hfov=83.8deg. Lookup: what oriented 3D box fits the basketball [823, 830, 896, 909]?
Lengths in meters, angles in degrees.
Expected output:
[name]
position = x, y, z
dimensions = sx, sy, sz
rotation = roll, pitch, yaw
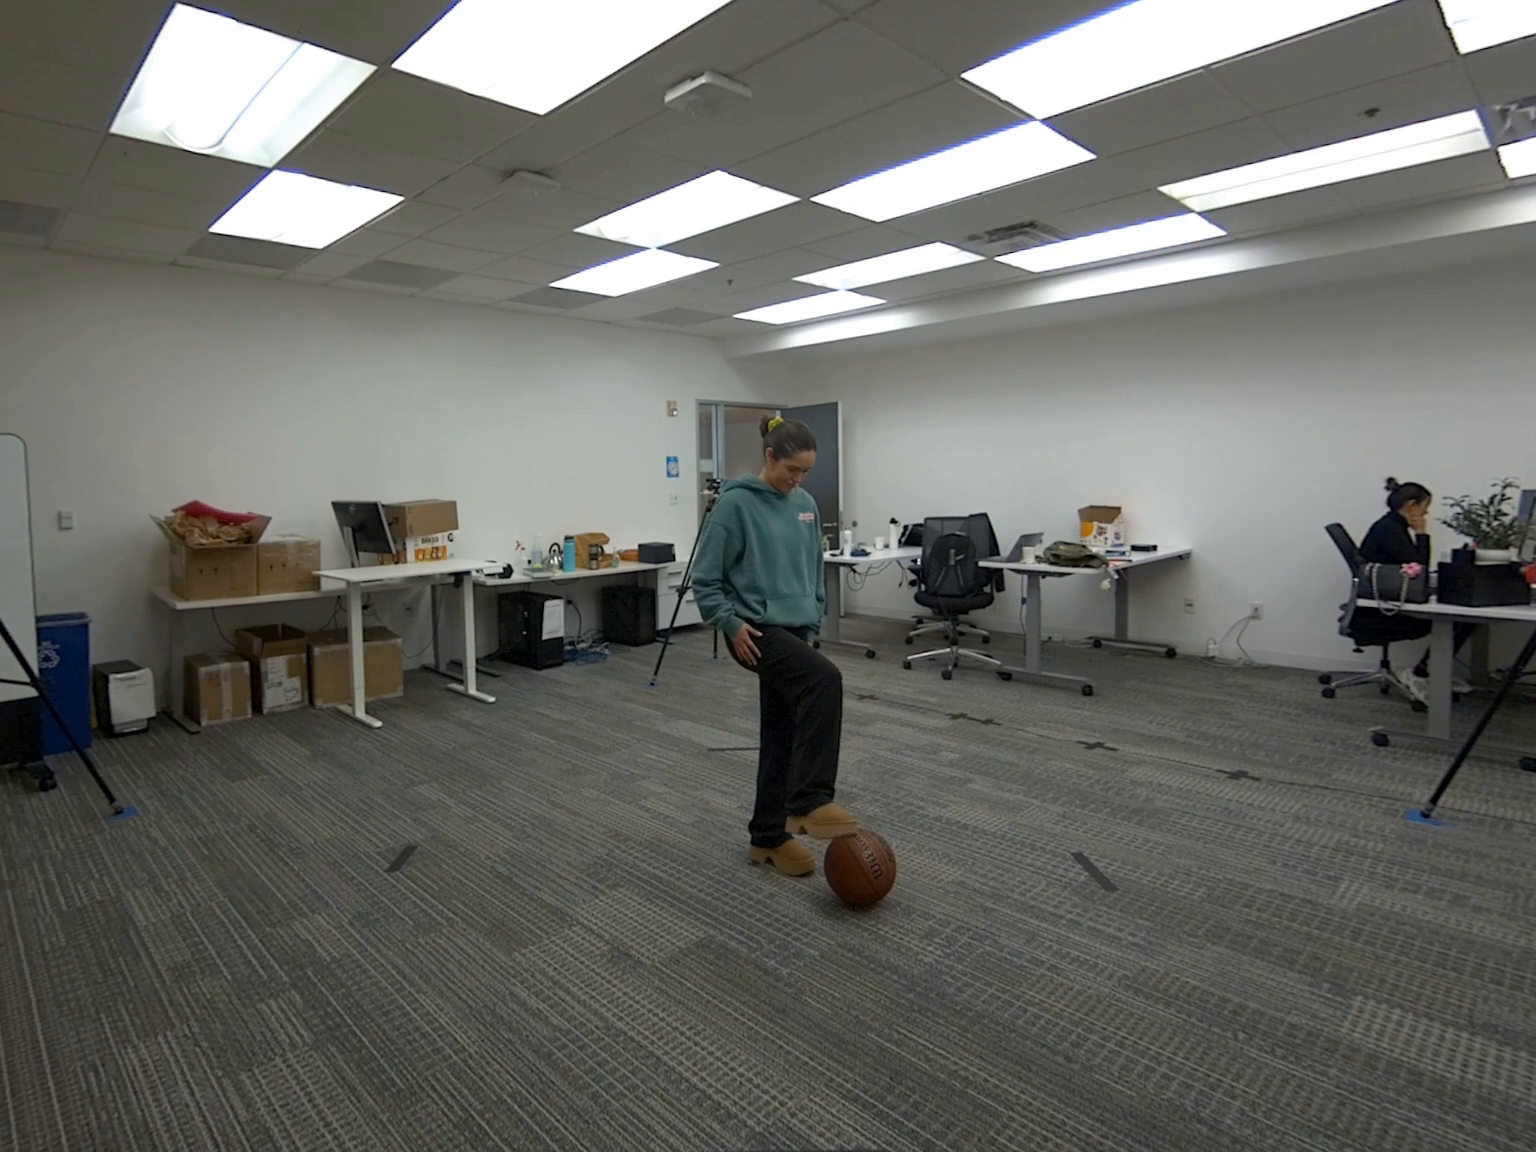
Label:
[basketball]
position = 0.302, 0.948, 2.812
dimensions = 0.236, 0.235, 0.237
rotation = -1, 5, -2
